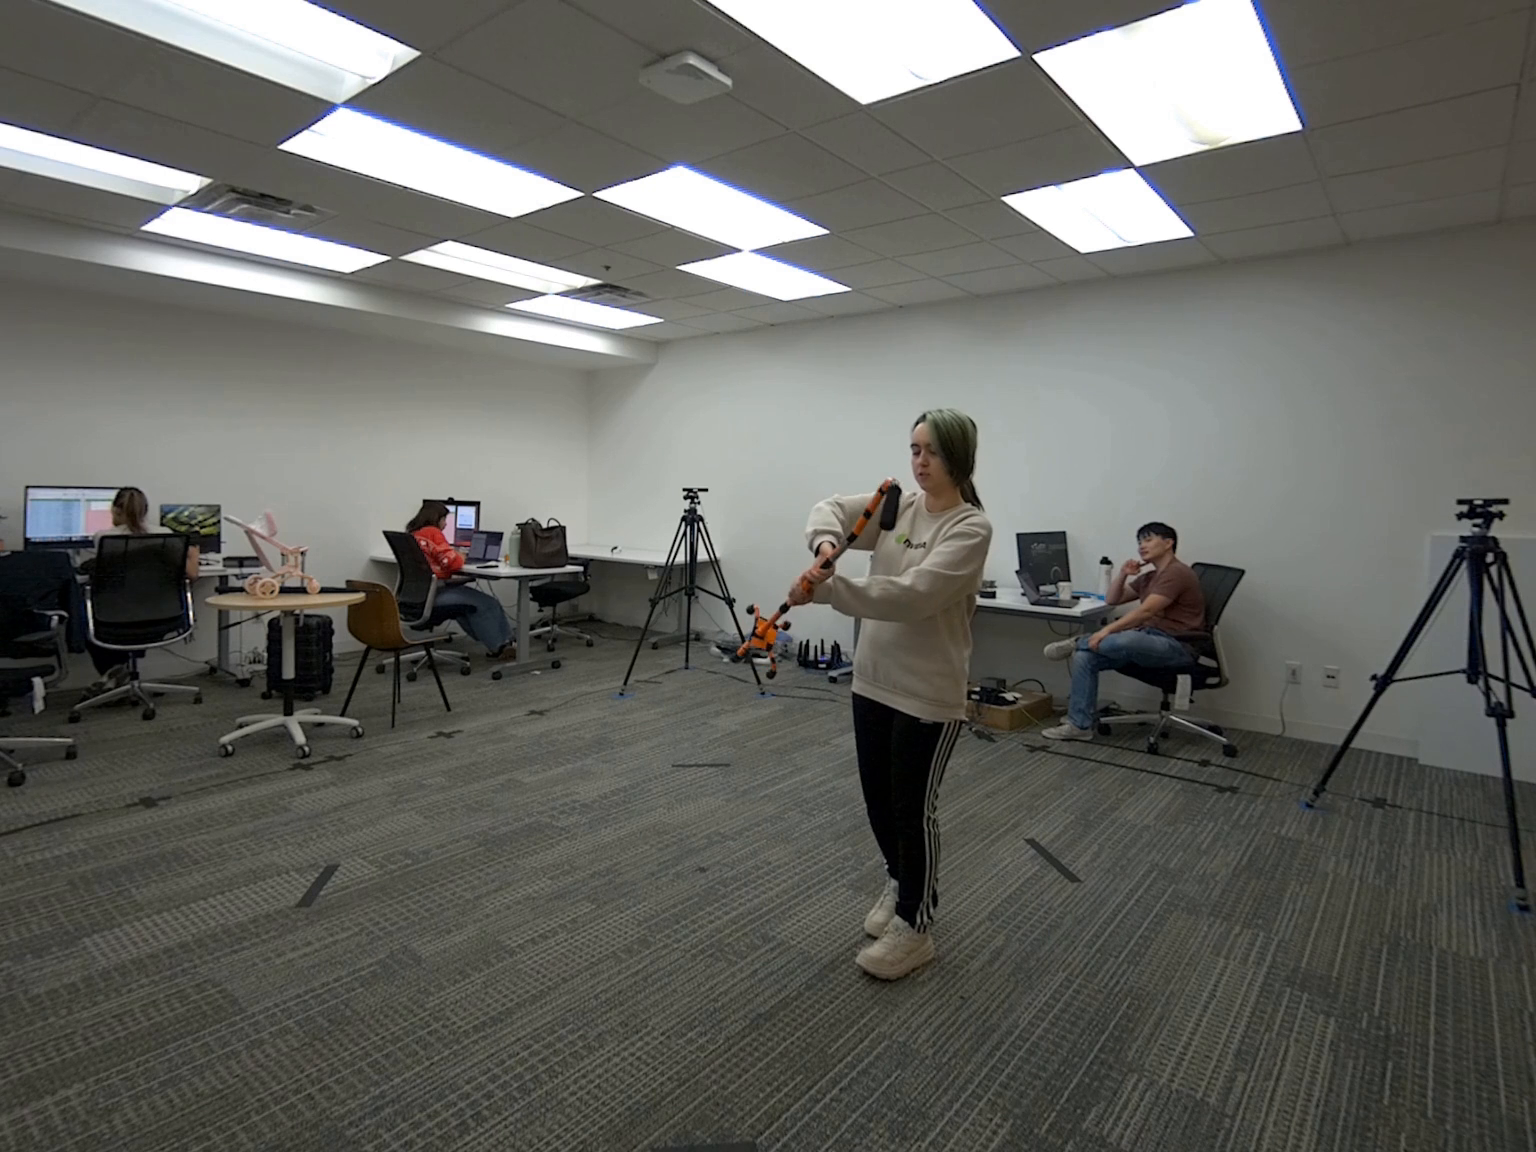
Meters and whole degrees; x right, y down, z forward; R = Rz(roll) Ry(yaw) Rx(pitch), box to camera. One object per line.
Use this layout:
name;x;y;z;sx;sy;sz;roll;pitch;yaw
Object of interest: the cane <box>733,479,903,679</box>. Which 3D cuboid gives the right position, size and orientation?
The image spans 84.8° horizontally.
cane;0.133;0.005;2.274;0.150;0.210;0.903;23;-34;-11
